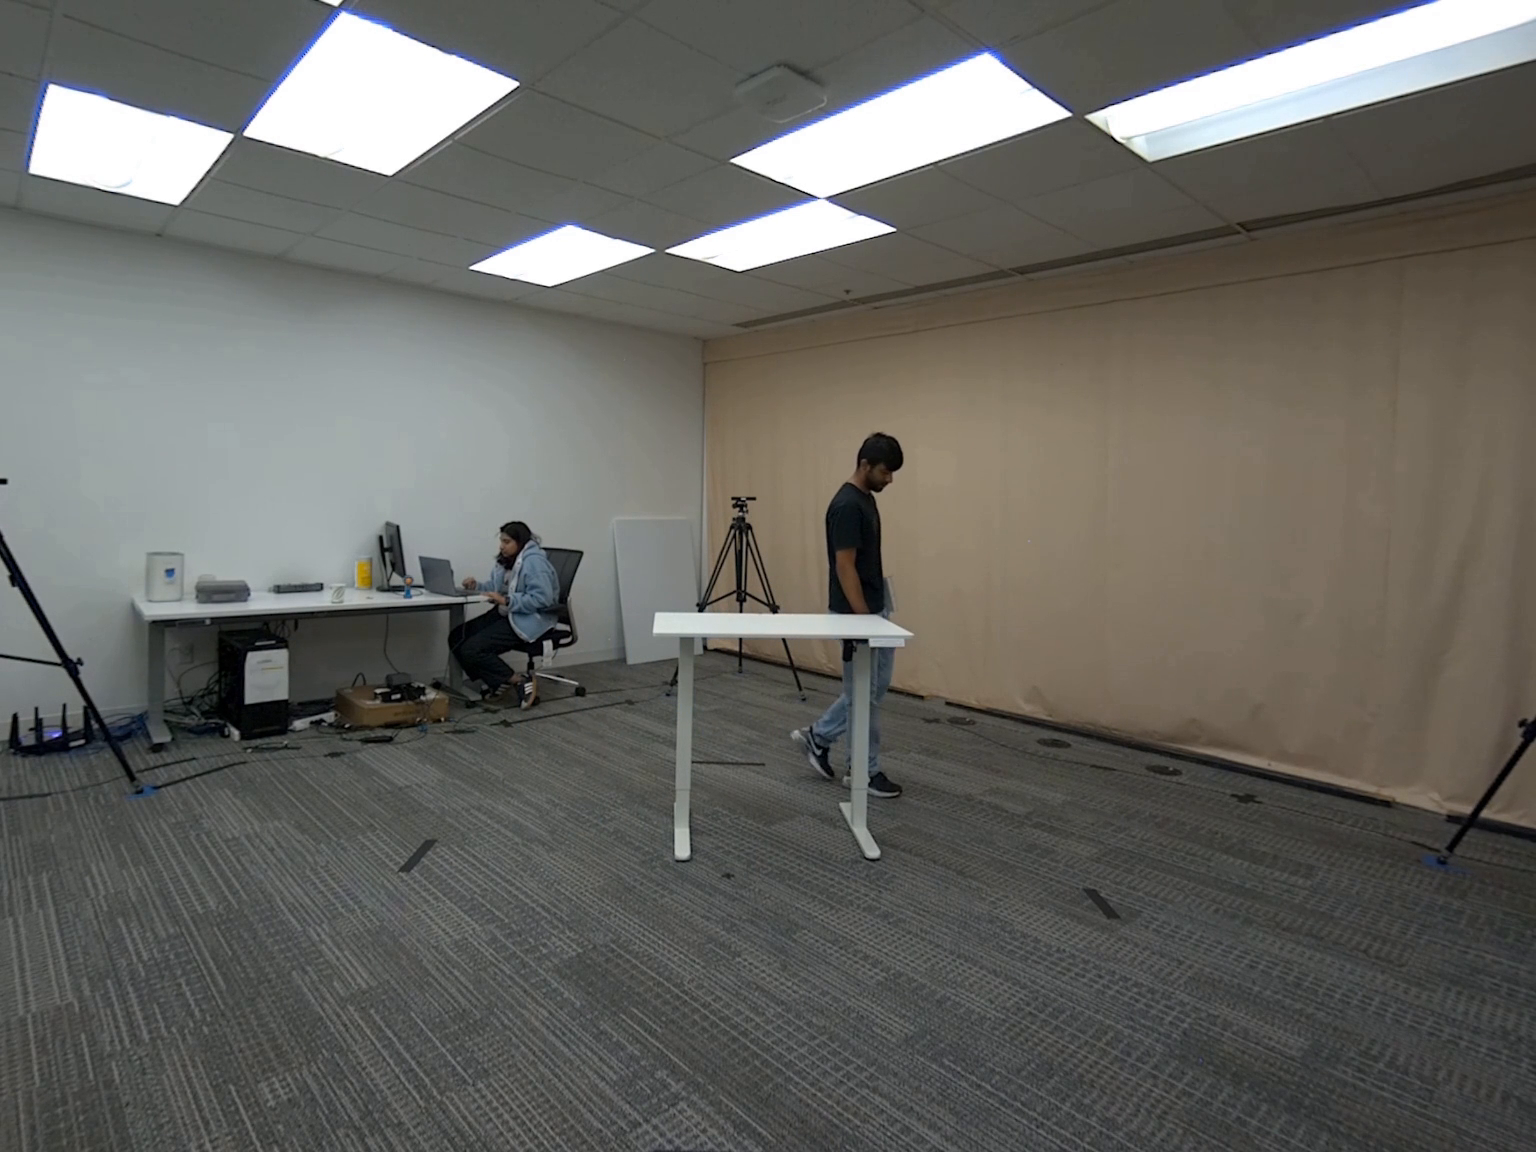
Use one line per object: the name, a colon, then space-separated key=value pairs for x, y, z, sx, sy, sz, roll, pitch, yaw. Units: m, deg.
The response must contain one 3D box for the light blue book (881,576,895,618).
light blue book: x=0.494 y=0.093 z=4.253 sx=0.266 sy=0.189 sz=0.058 roll=-4 pitch=14 yaw=32
